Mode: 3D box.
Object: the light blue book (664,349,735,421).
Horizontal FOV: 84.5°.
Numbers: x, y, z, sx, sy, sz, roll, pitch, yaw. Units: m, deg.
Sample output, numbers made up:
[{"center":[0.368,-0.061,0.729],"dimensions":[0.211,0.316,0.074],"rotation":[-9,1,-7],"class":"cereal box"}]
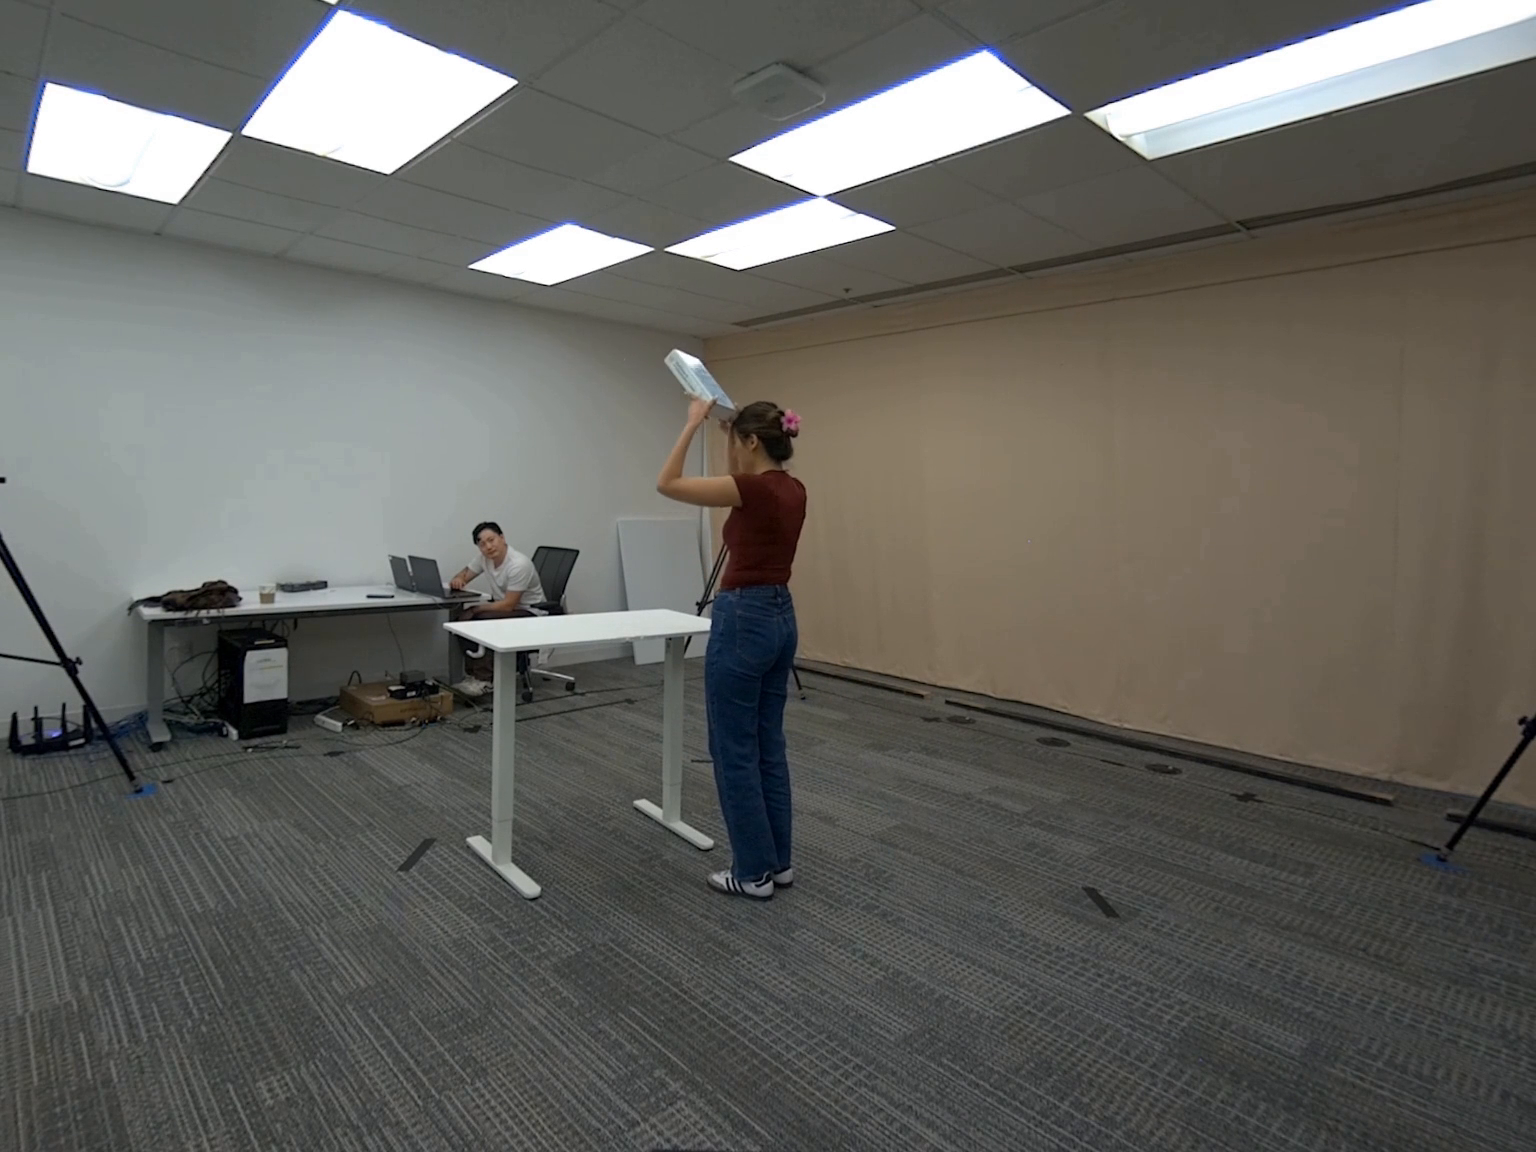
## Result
[{"center":[-0.248,-0.677,3.036],"dimensions":[0.059,0.265,0.188],"rotation":[-41,-15,19],"class":"light blue book"}]
